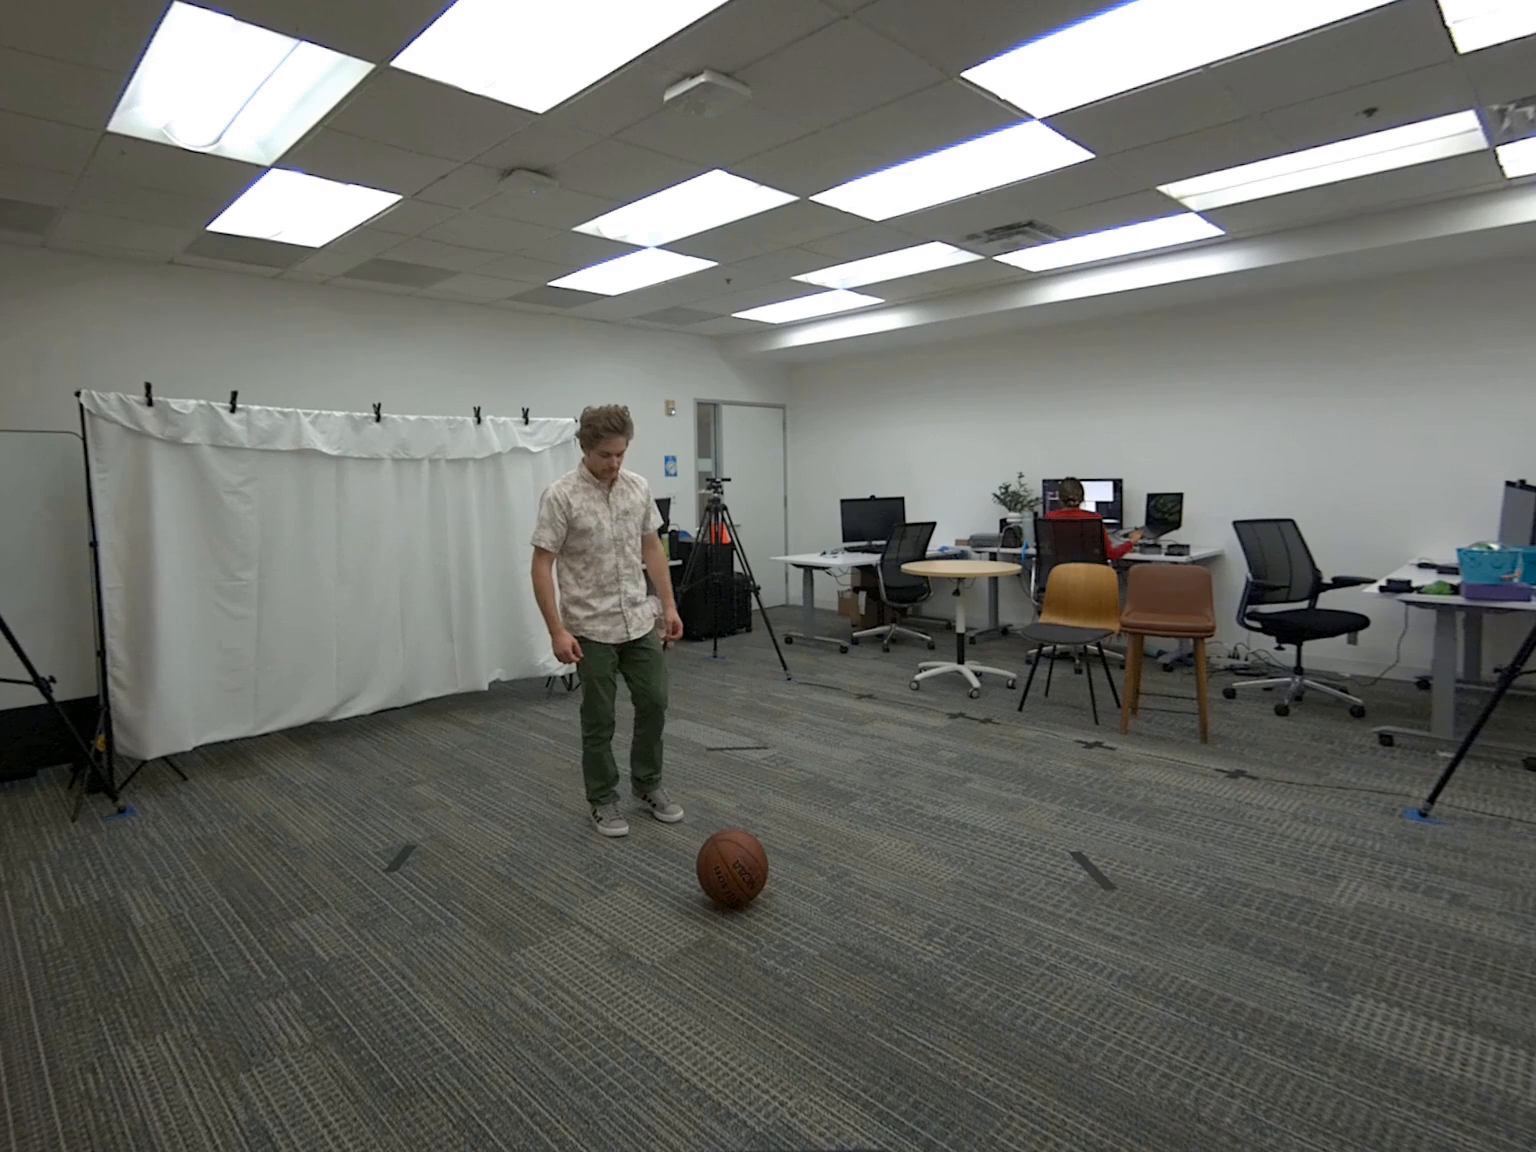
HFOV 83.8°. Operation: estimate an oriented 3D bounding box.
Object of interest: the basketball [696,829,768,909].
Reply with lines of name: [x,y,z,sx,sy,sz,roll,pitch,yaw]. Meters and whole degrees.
basketball: [-0.111,0.951,2.816,0.236,0.235,0.237,-1,5,-2]
